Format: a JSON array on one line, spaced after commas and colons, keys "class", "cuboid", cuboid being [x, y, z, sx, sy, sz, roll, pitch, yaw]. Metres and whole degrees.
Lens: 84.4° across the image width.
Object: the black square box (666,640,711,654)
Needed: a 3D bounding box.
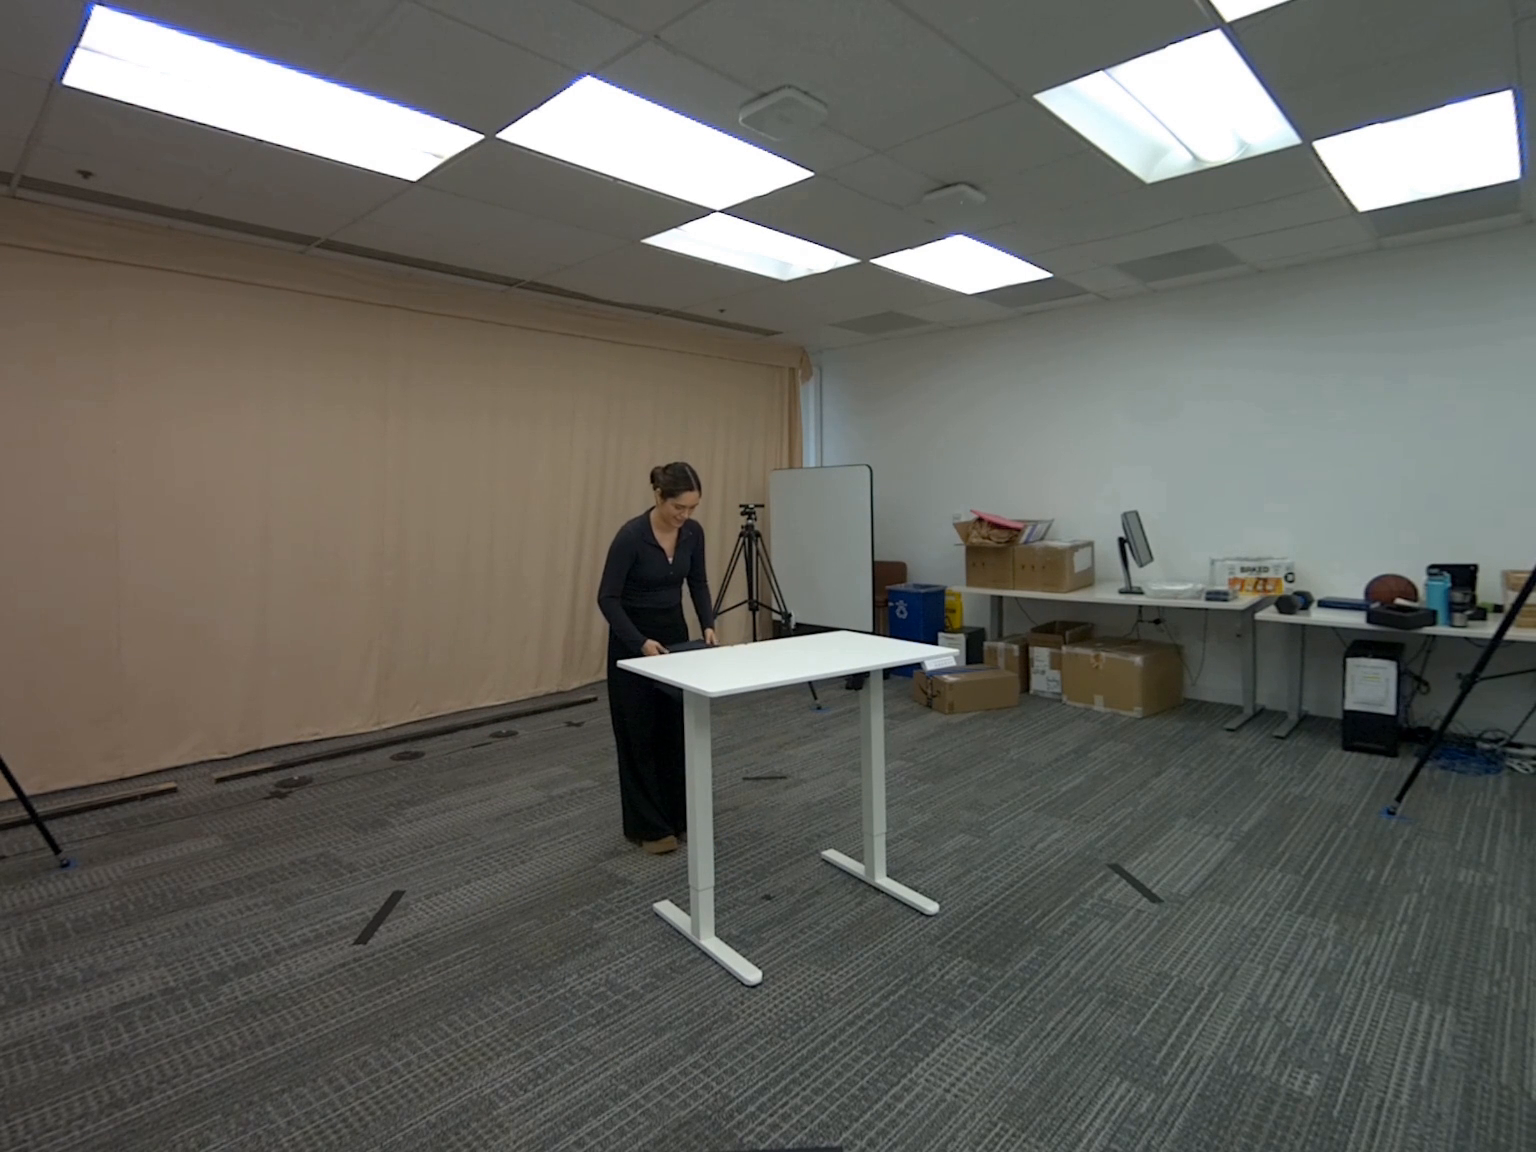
[{"class": "black square box", "cuboid": [-0.306, 0.367, 3.327, 0.222, 0.155, 0.224, -10, 12, -33]}]
